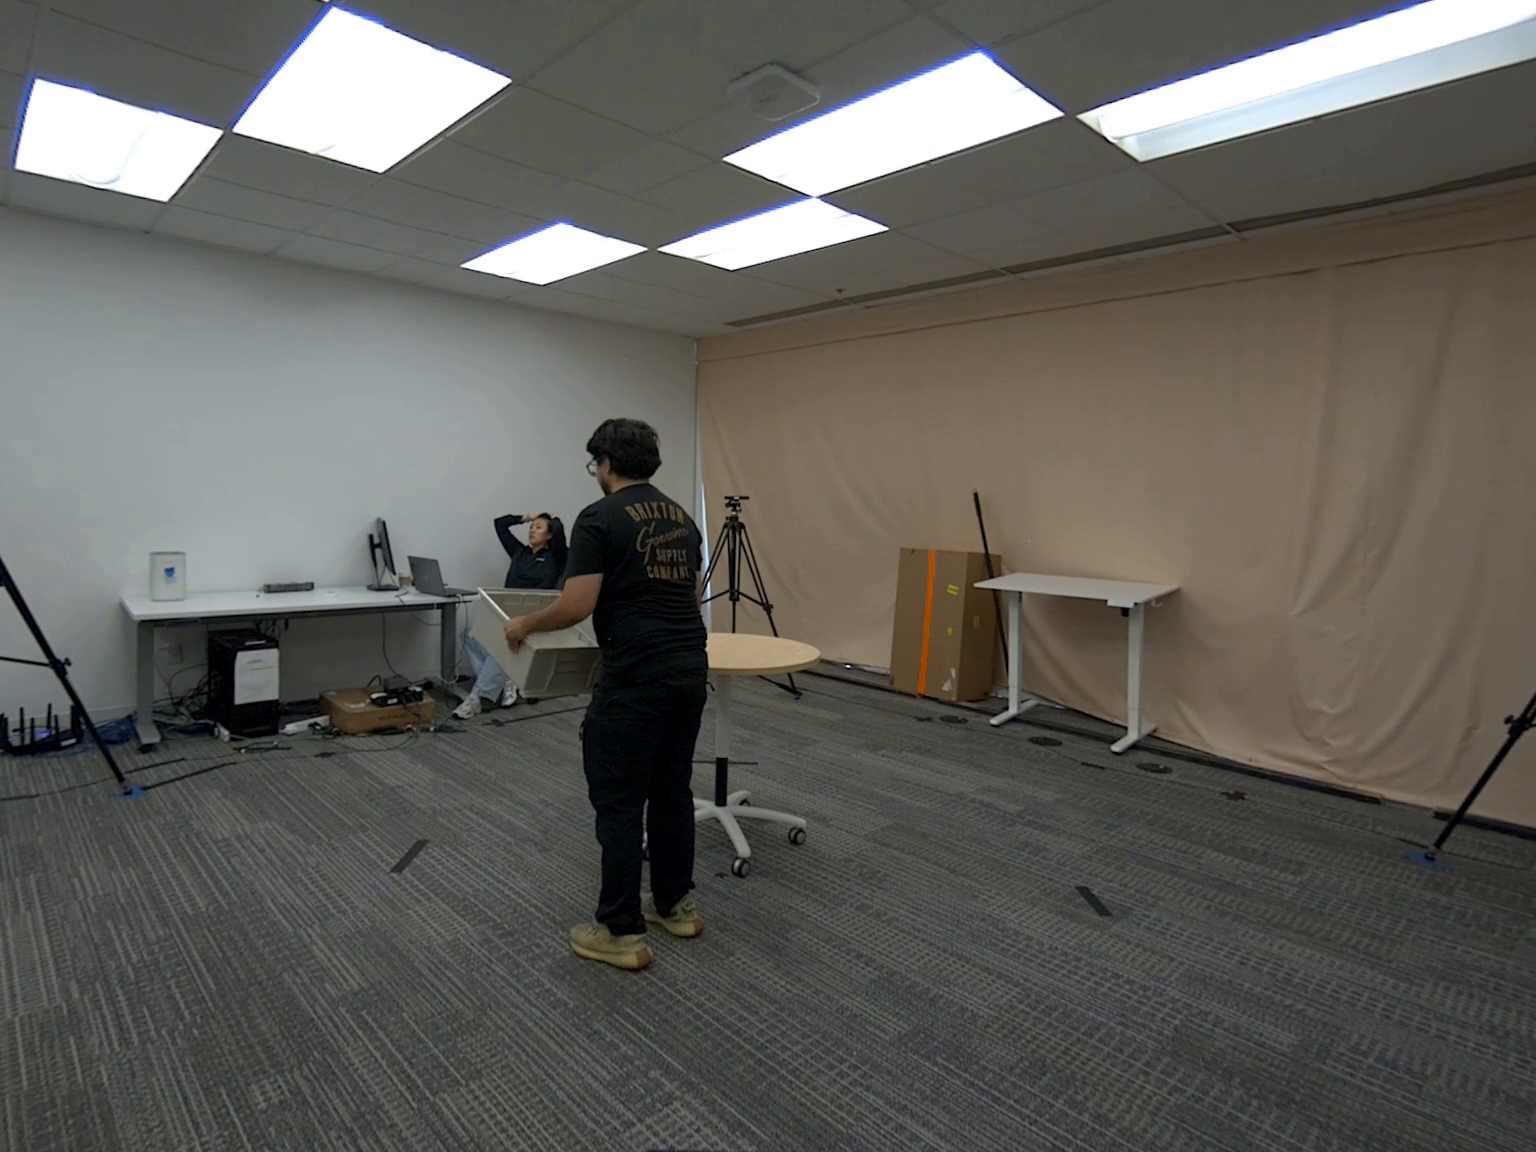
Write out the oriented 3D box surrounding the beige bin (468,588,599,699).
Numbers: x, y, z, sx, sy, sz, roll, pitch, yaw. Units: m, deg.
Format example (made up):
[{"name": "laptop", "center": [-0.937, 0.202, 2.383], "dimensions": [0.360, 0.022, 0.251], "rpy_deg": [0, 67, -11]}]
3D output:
[{"name": "beige bin", "center": [-0.747, 0.227, 2.863], "dimensions": [0.368, 0.188, 0.436], "rpy_deg": [3, 22, -45]}]
